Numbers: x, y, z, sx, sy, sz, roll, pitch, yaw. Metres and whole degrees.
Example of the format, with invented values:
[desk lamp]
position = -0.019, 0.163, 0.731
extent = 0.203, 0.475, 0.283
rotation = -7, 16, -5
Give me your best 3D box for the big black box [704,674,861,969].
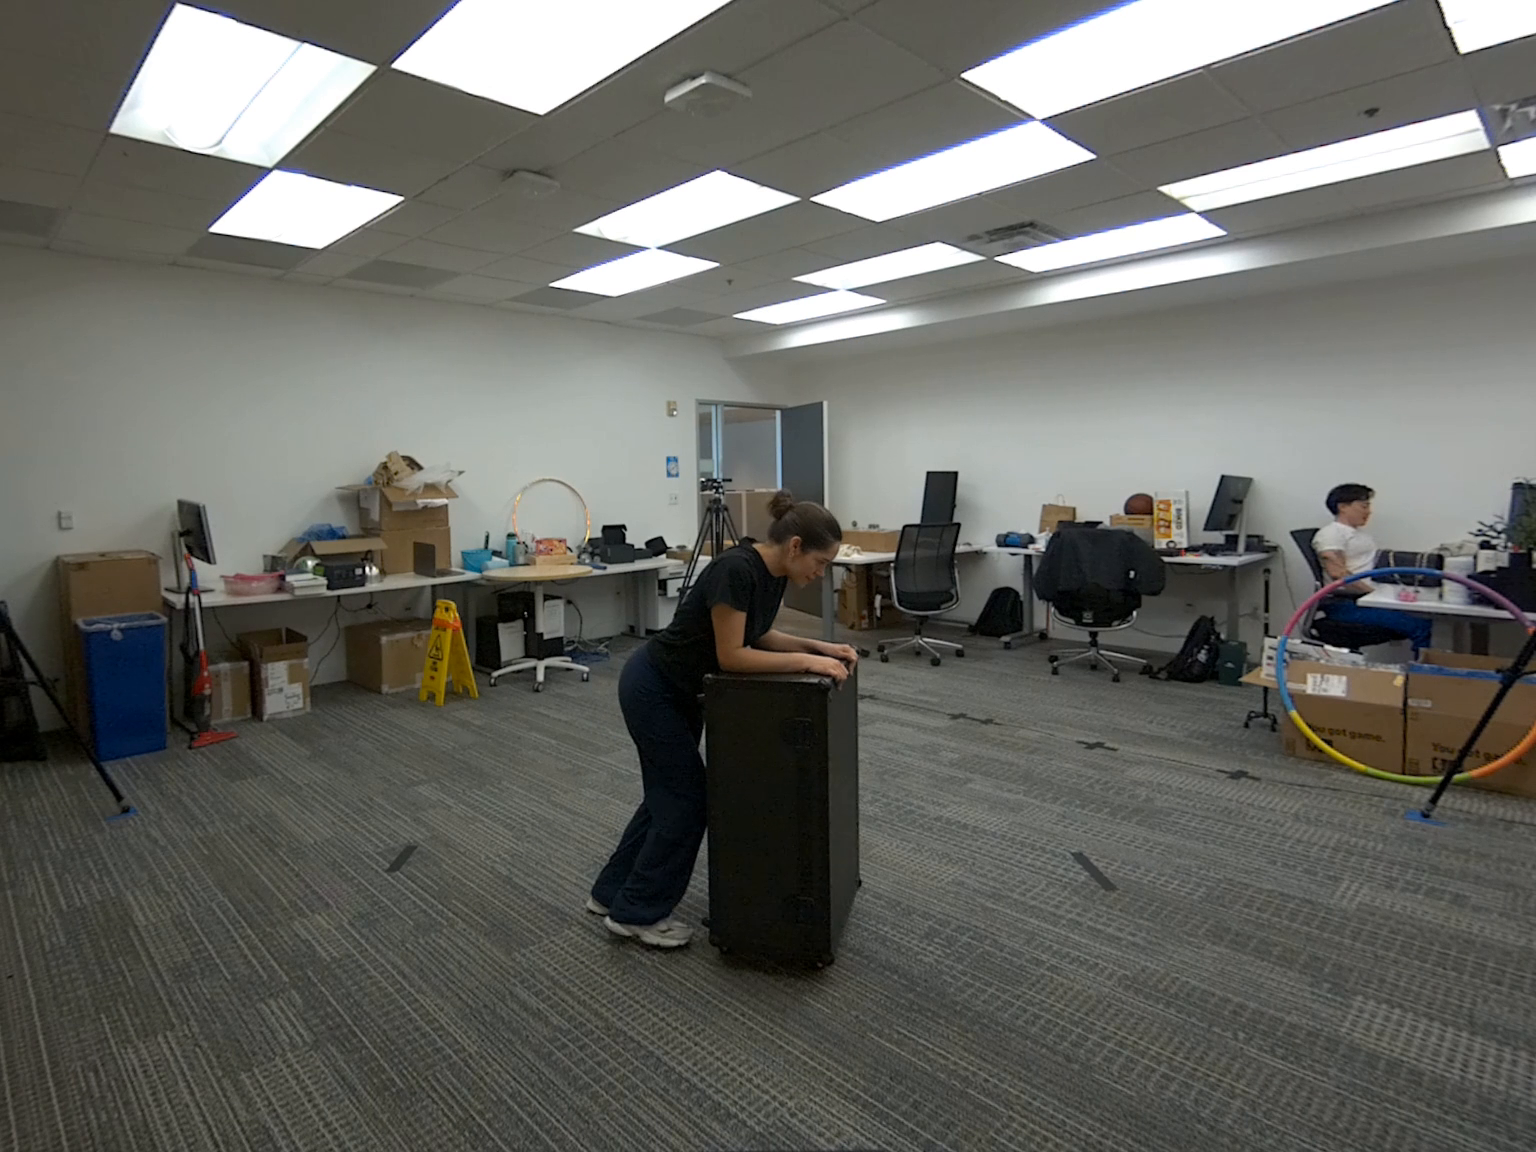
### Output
[big black box]
position = 0.051, 0.614, 2.597
extent = 0.403, 0.858, 0.515
rotation = 1, 5, 16
